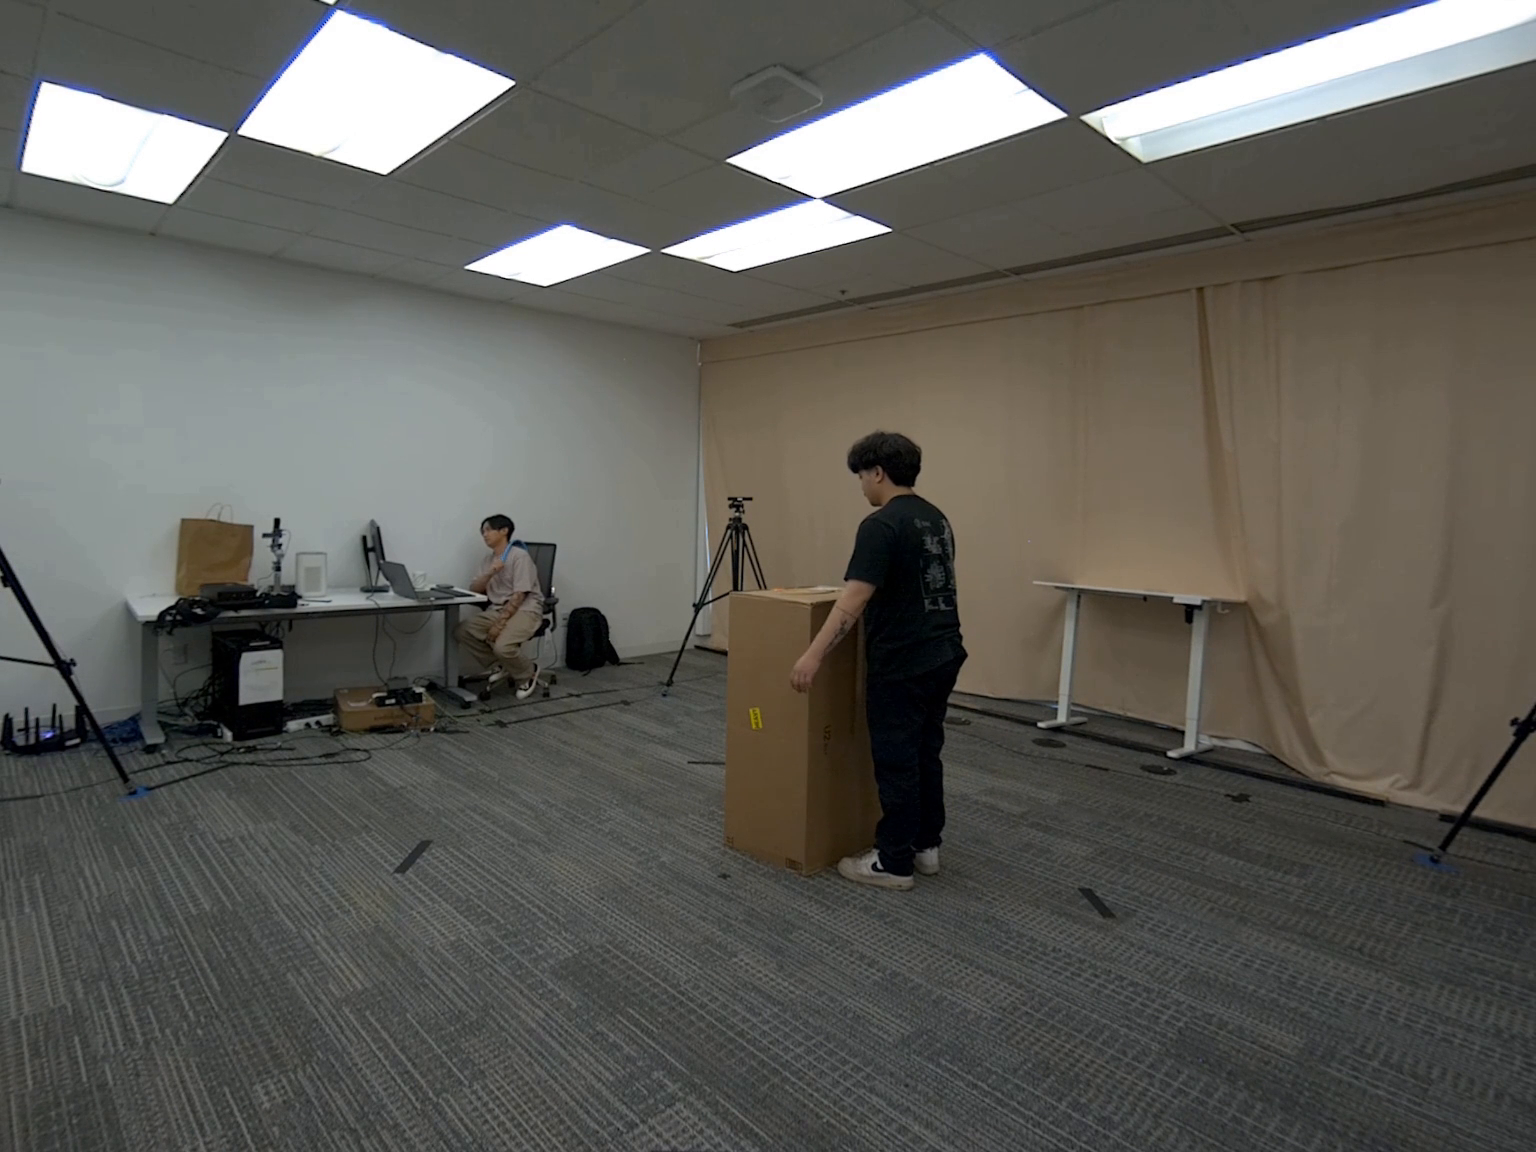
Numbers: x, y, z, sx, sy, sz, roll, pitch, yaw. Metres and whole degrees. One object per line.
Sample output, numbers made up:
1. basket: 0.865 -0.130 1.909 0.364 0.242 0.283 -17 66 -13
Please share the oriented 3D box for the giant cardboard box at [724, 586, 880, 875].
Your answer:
1. giant cardboard box: 0.169 0.576 3.438 0.458 1.025 0.570 3 3 44
